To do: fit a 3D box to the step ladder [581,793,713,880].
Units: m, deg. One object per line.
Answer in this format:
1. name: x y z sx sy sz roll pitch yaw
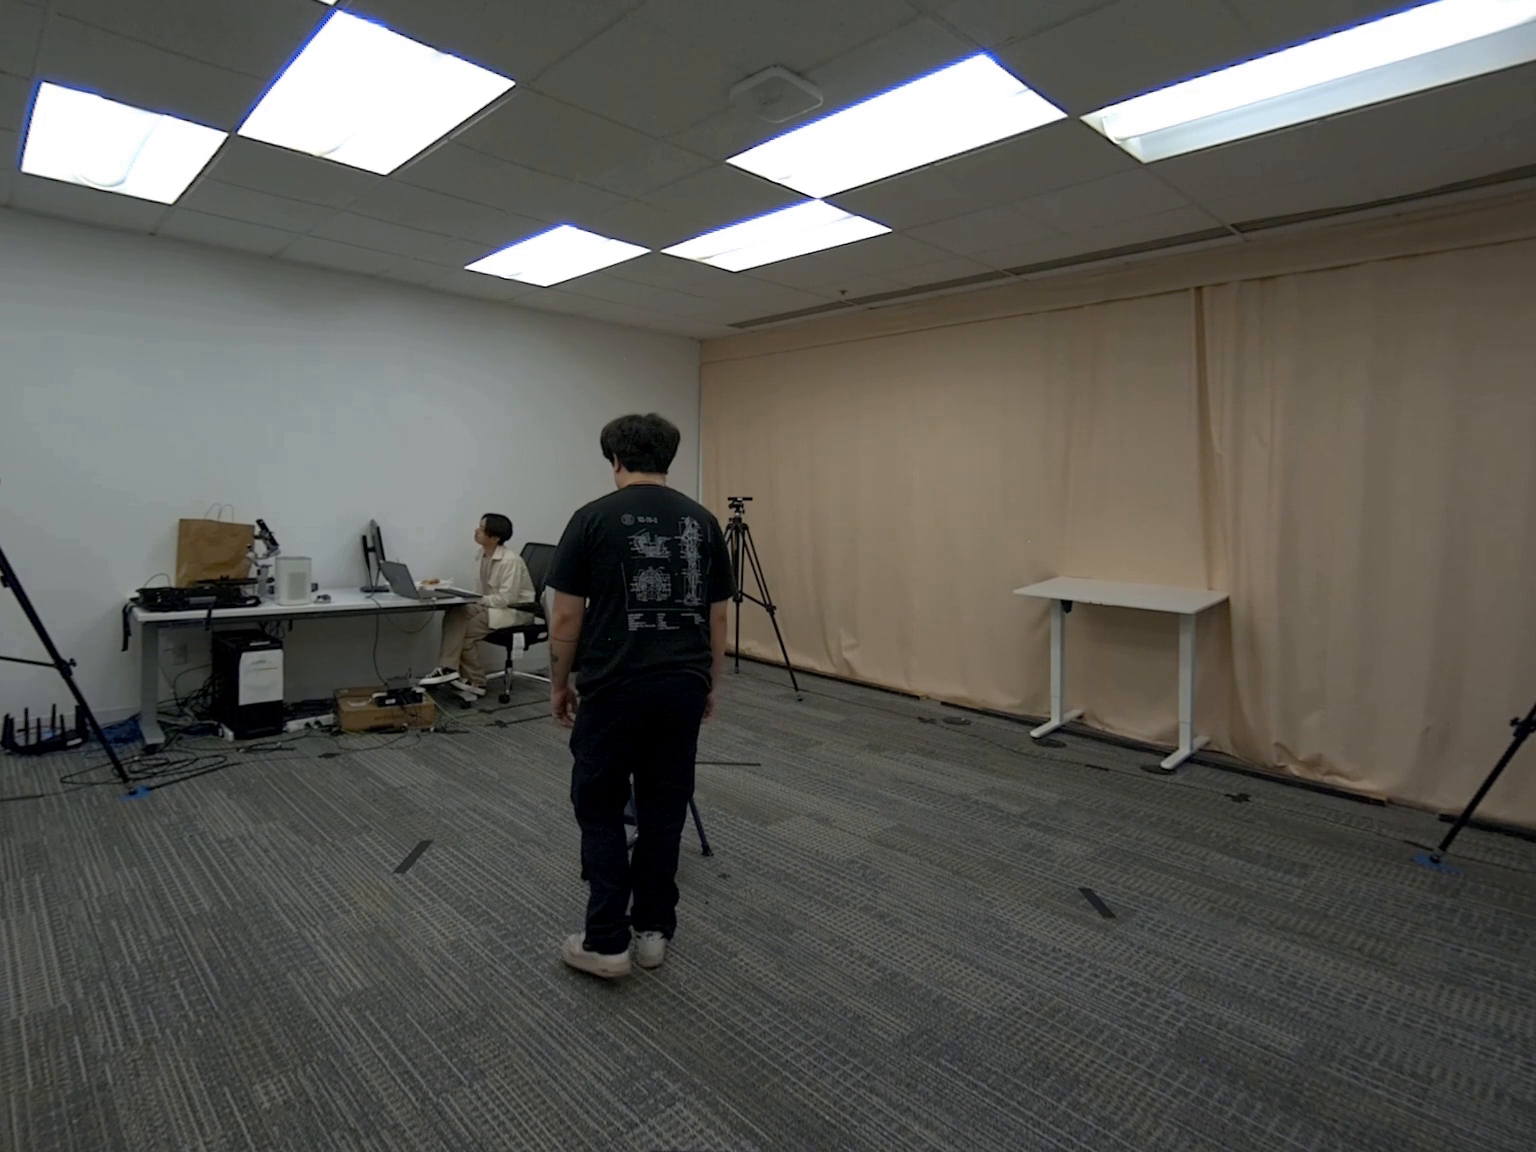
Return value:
1. step ladder: -0.441 0.798 3.152 0.355 0.604 0.424 3 4 20
